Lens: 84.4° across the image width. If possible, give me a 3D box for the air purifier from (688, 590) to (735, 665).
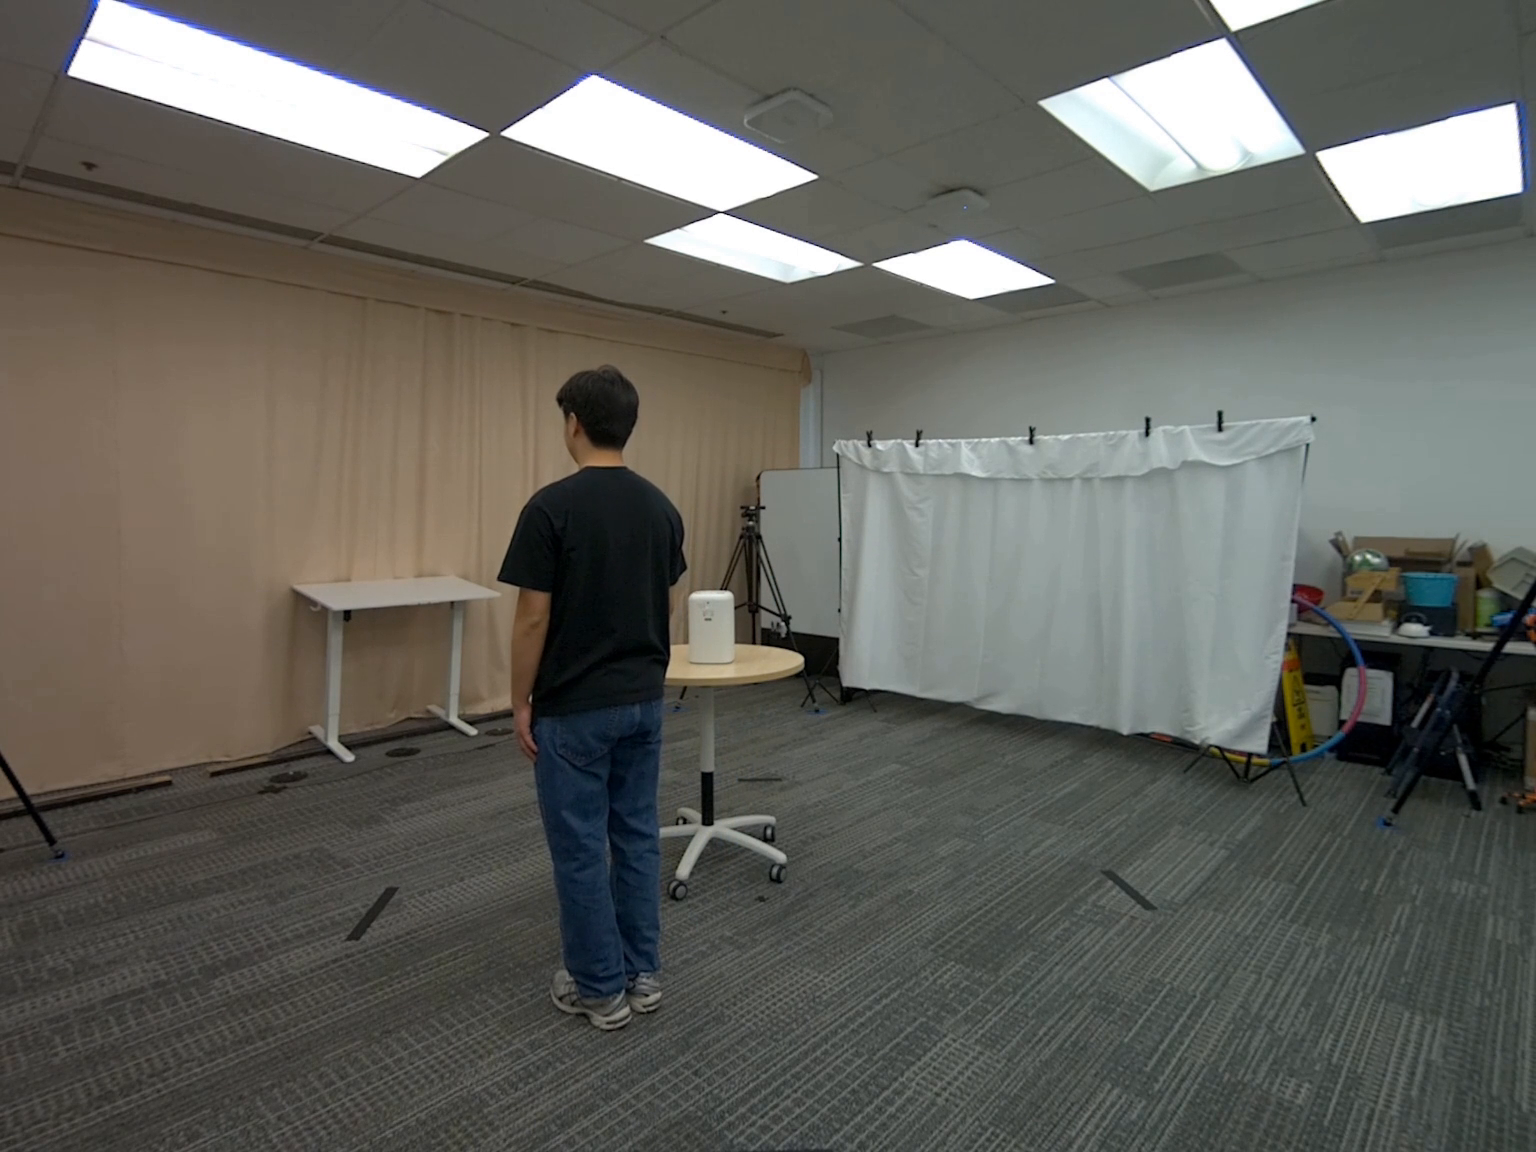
[{"bbox_3d":[-0.216,0.195,3.254,0.172,0.264,0.171,-1,5,7],"label":"air purifier"}]
